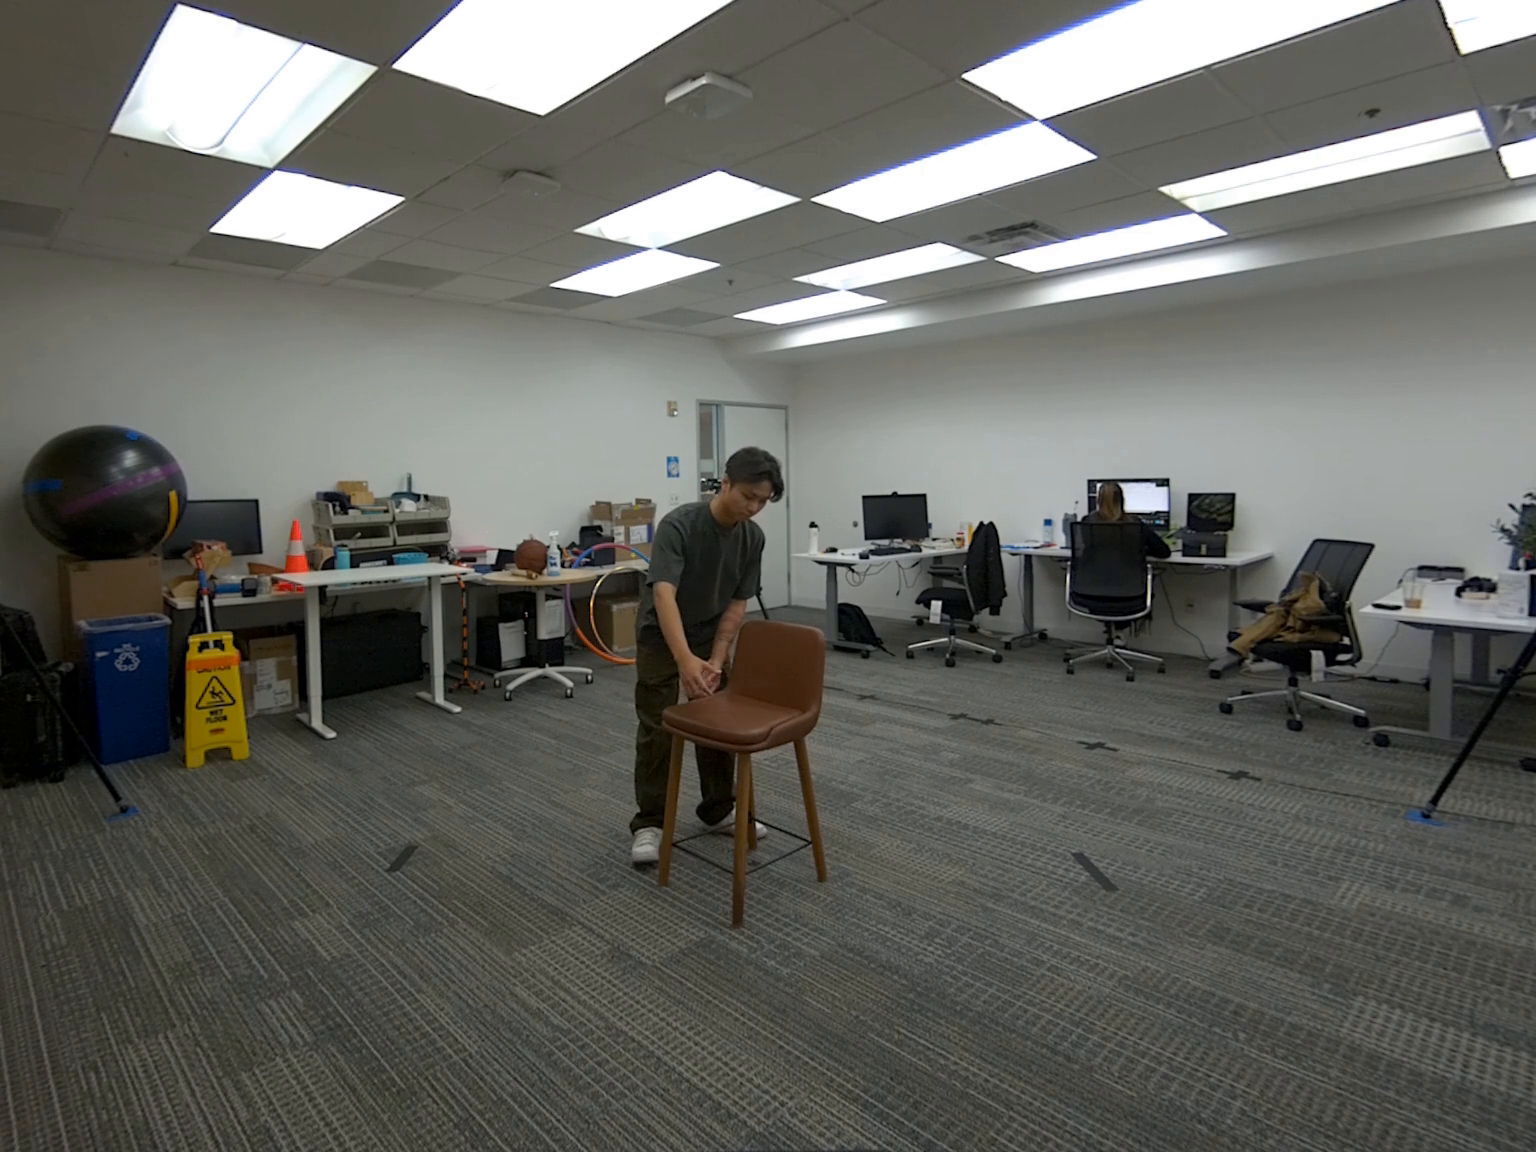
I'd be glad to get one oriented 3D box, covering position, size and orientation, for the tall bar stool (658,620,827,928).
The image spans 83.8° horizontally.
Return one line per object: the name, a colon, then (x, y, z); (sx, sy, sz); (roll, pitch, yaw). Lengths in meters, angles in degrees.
tall bar stool: (-0.077, 0.630, 2.927); (0.455, 0.887, 0.471); (-3, 5, -44)
